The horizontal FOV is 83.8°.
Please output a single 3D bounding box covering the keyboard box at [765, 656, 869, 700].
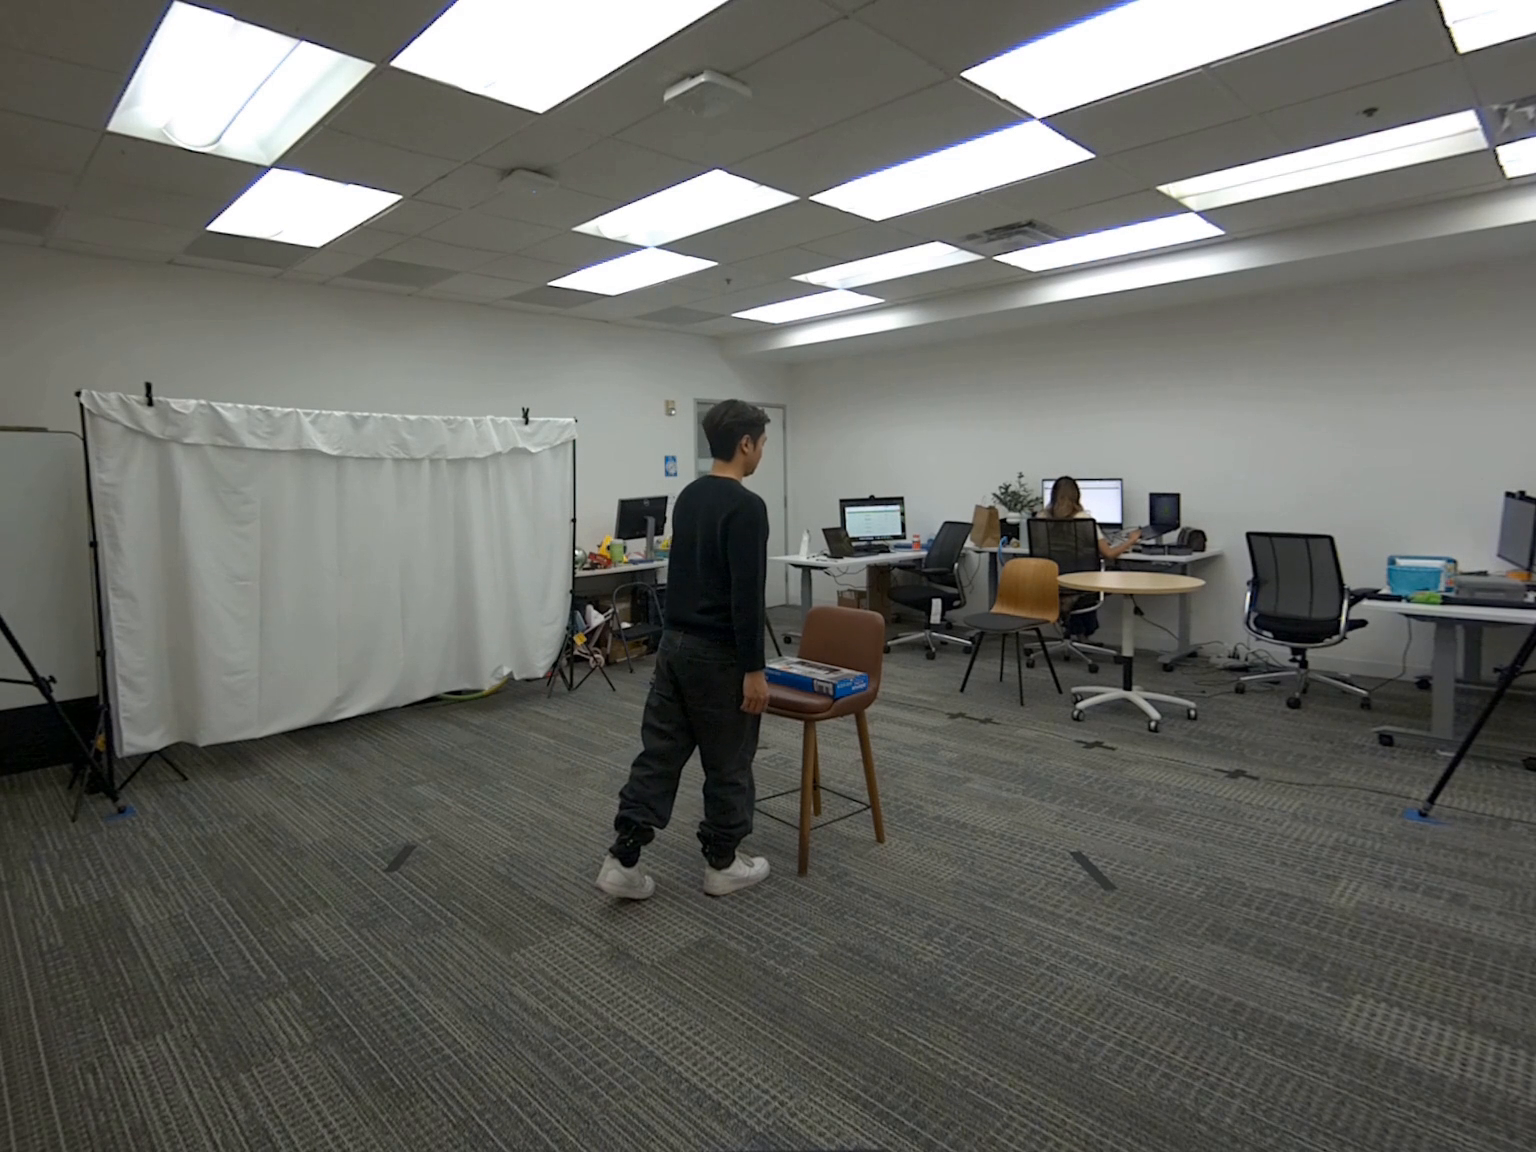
[{"bbox_3d":[0.152,0.371,3.235,0.172,0.059,0.450,-9,10,-41],"label":"keyboard box"}]
